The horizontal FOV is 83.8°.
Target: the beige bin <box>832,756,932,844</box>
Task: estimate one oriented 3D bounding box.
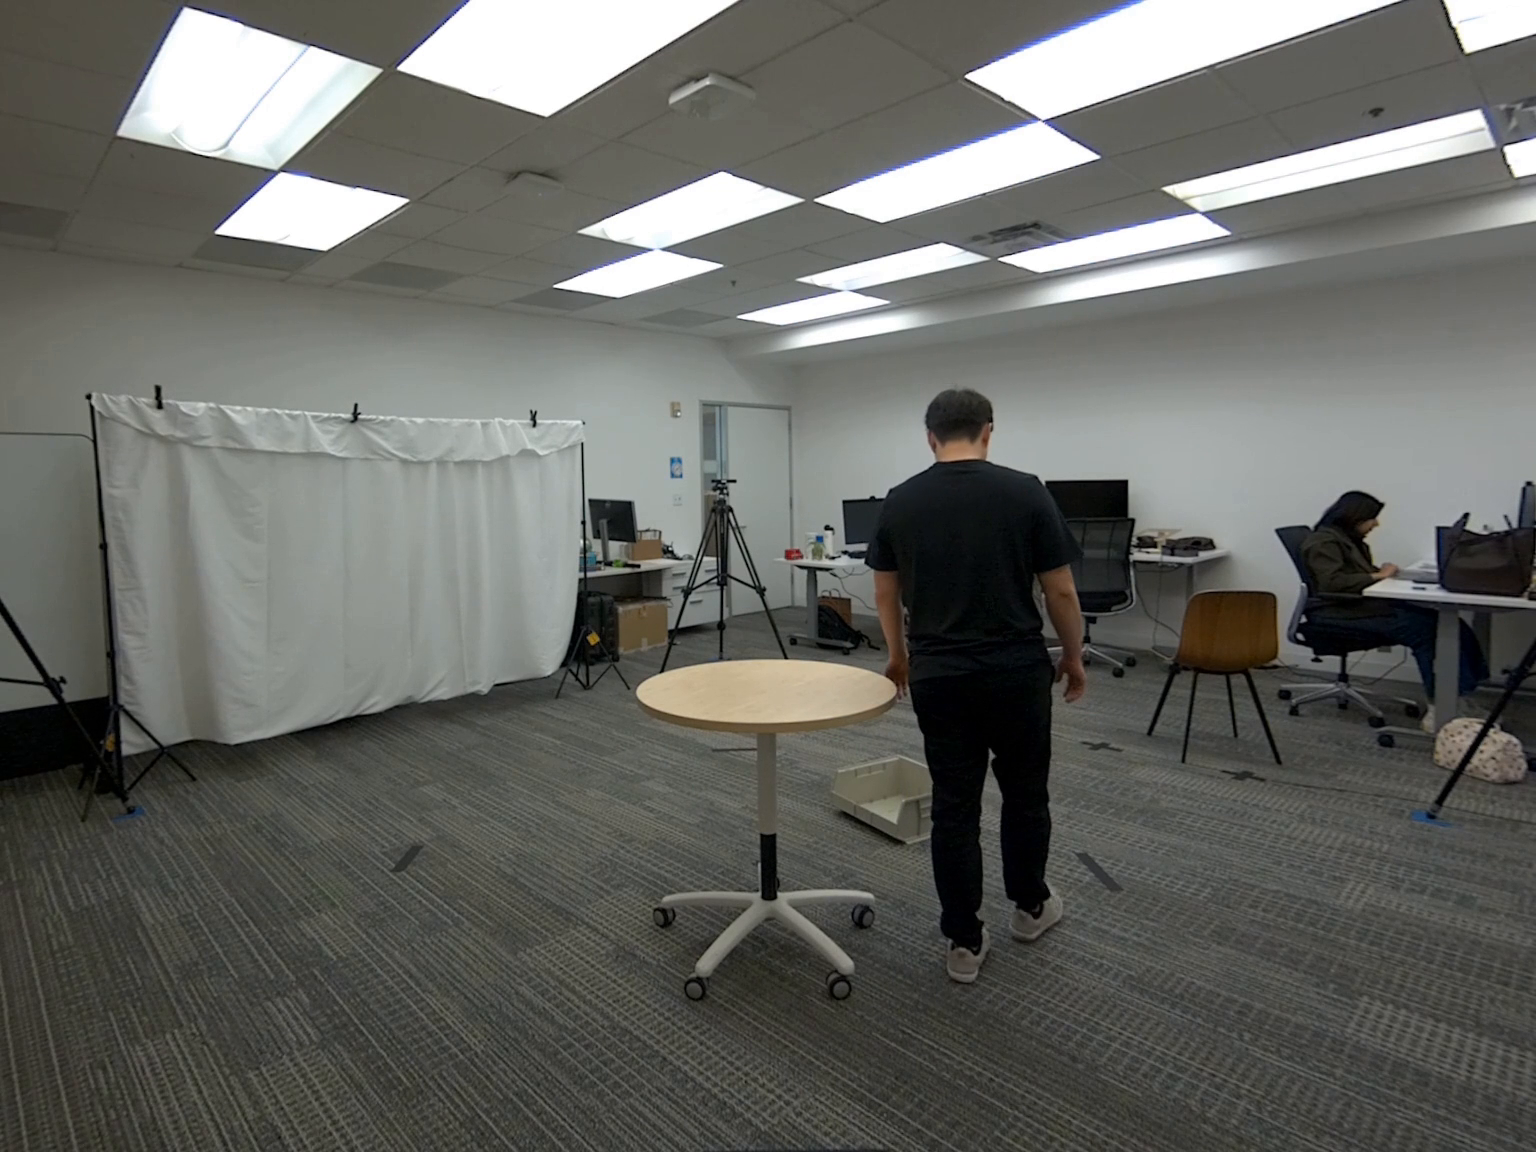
[{"bbox_3d":[0.535,0.909,3.486,0.368,0.188,0.434,-4,6,-31],"label":"beige bin"}]
